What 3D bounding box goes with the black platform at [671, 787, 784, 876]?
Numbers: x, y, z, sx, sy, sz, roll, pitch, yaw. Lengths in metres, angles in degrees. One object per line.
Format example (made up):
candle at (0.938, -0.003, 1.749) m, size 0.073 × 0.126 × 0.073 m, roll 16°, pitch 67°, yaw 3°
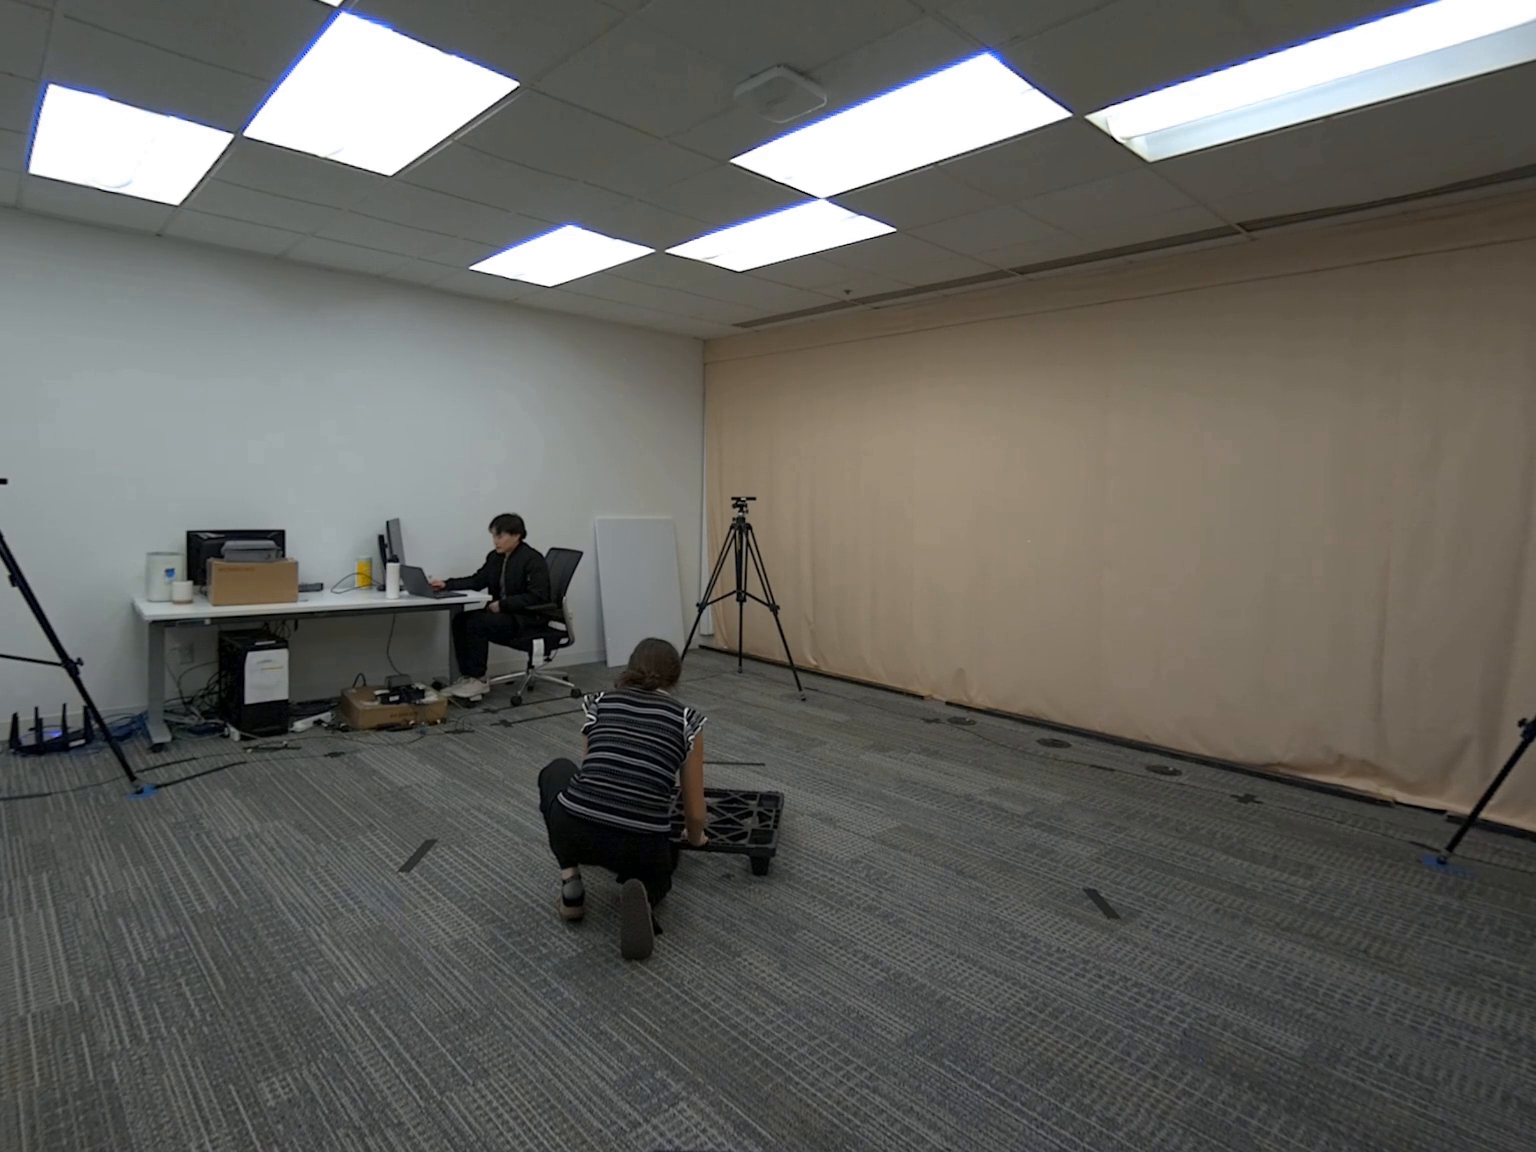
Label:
black platform at (-0.352, 1.011, 3.379) m, size 0.810 × 0.143 × 0.604 m, roll 2°, pitch 6°, yaw 6°
